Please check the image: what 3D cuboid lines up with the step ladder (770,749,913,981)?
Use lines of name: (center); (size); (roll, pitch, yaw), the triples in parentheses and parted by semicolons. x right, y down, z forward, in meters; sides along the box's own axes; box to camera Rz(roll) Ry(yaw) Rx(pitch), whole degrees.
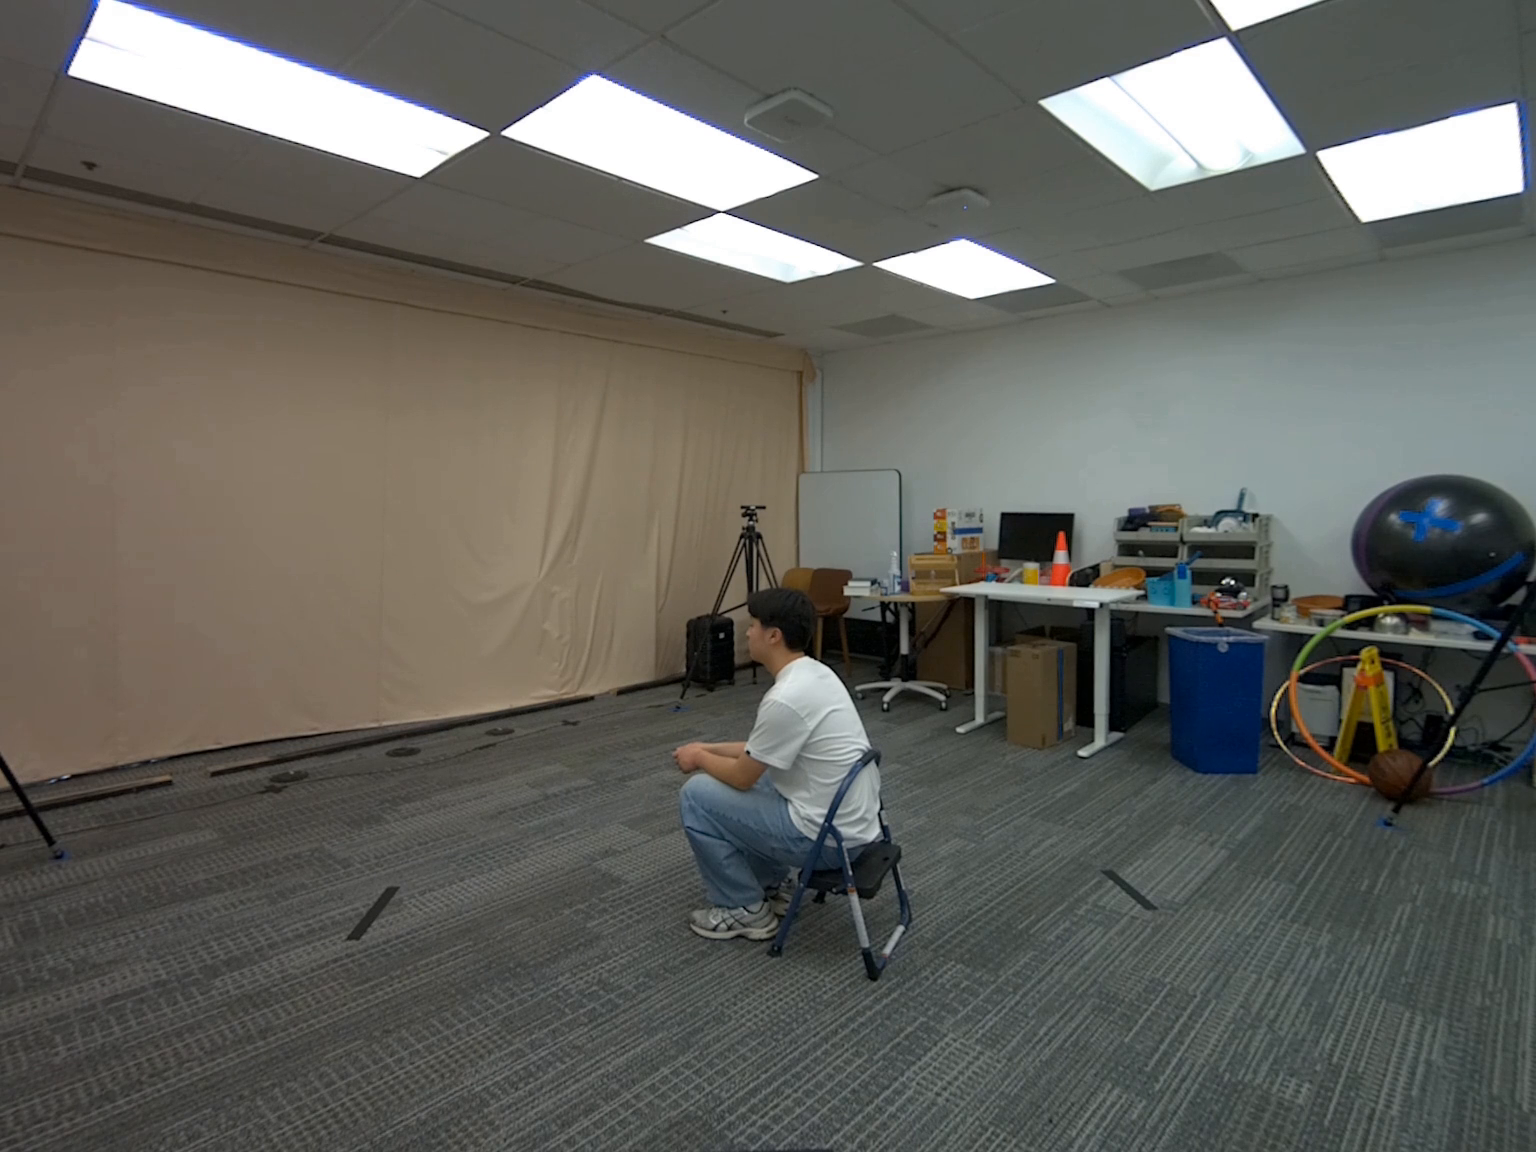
step ladder: (0.252, 0.868, 2.694); (0.358, 0.604, 0.420); (2, 5, 26)
